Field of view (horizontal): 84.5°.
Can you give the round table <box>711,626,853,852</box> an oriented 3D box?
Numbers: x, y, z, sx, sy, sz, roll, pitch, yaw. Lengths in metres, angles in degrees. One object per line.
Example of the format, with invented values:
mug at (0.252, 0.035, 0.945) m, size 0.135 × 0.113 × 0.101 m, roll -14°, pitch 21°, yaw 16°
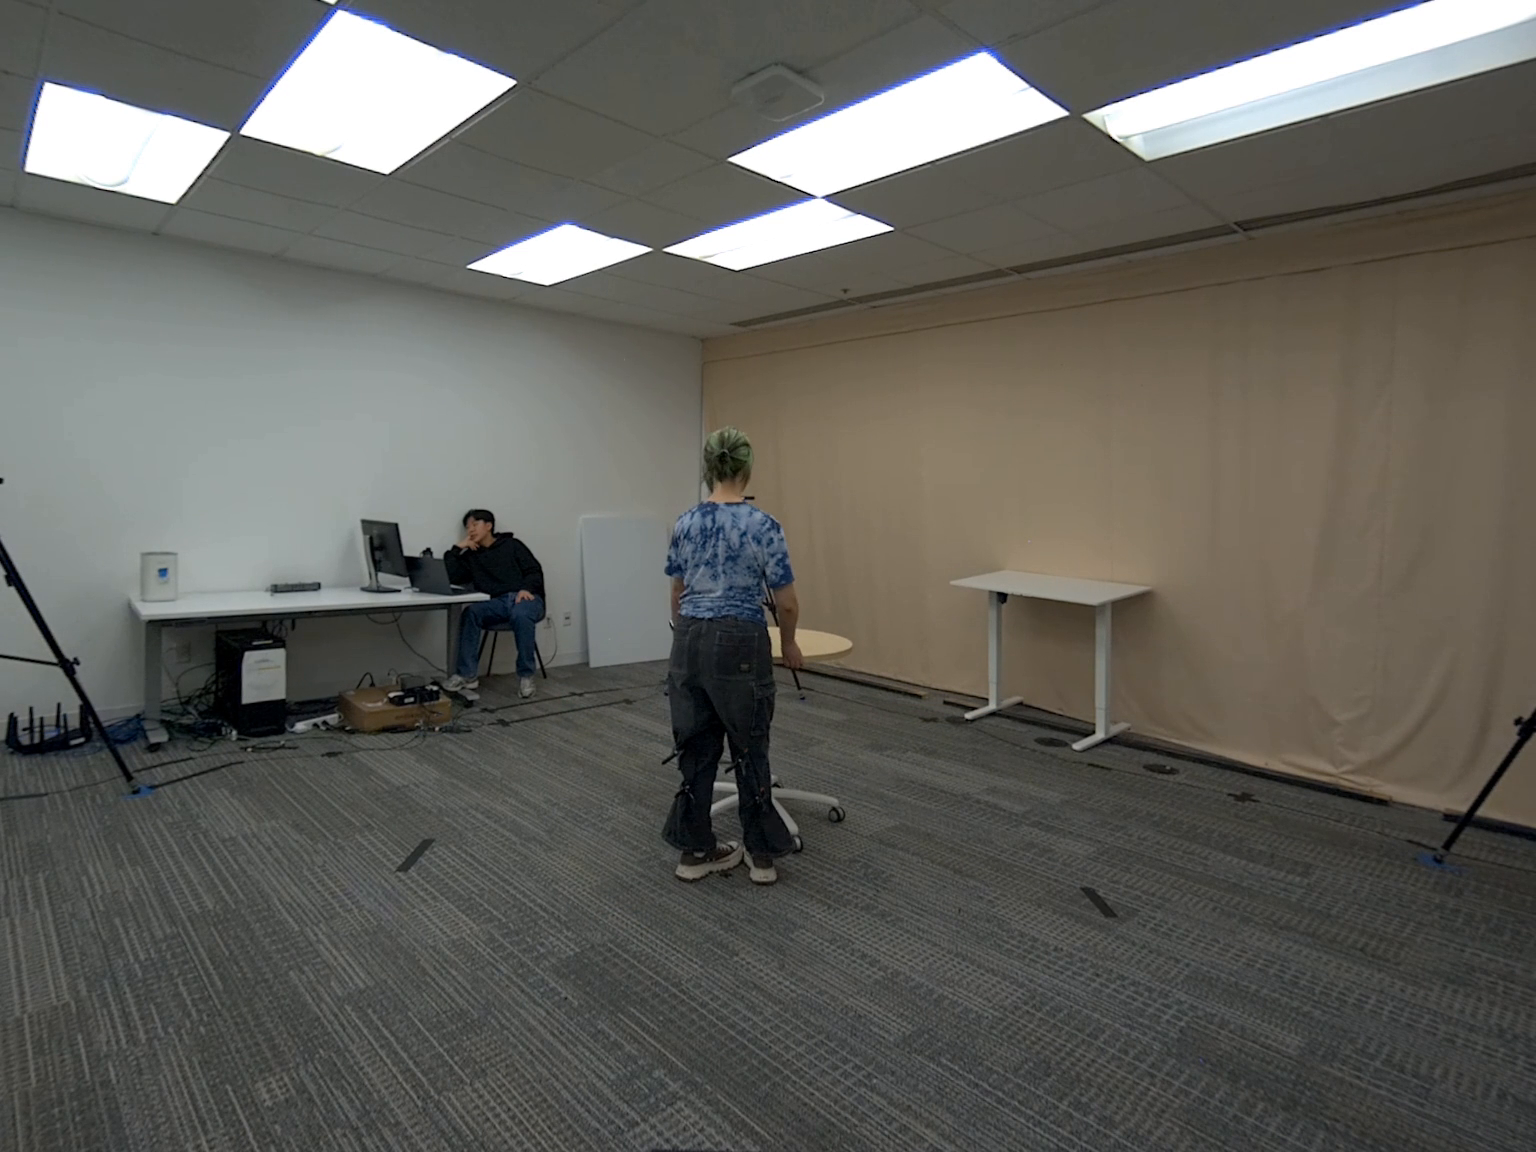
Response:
round table at (-0.037, 0.673, 3.629) m, size 0.763 × 0.792 × 0.766 m, roll 1°, pitch 4°, yaw -1°
